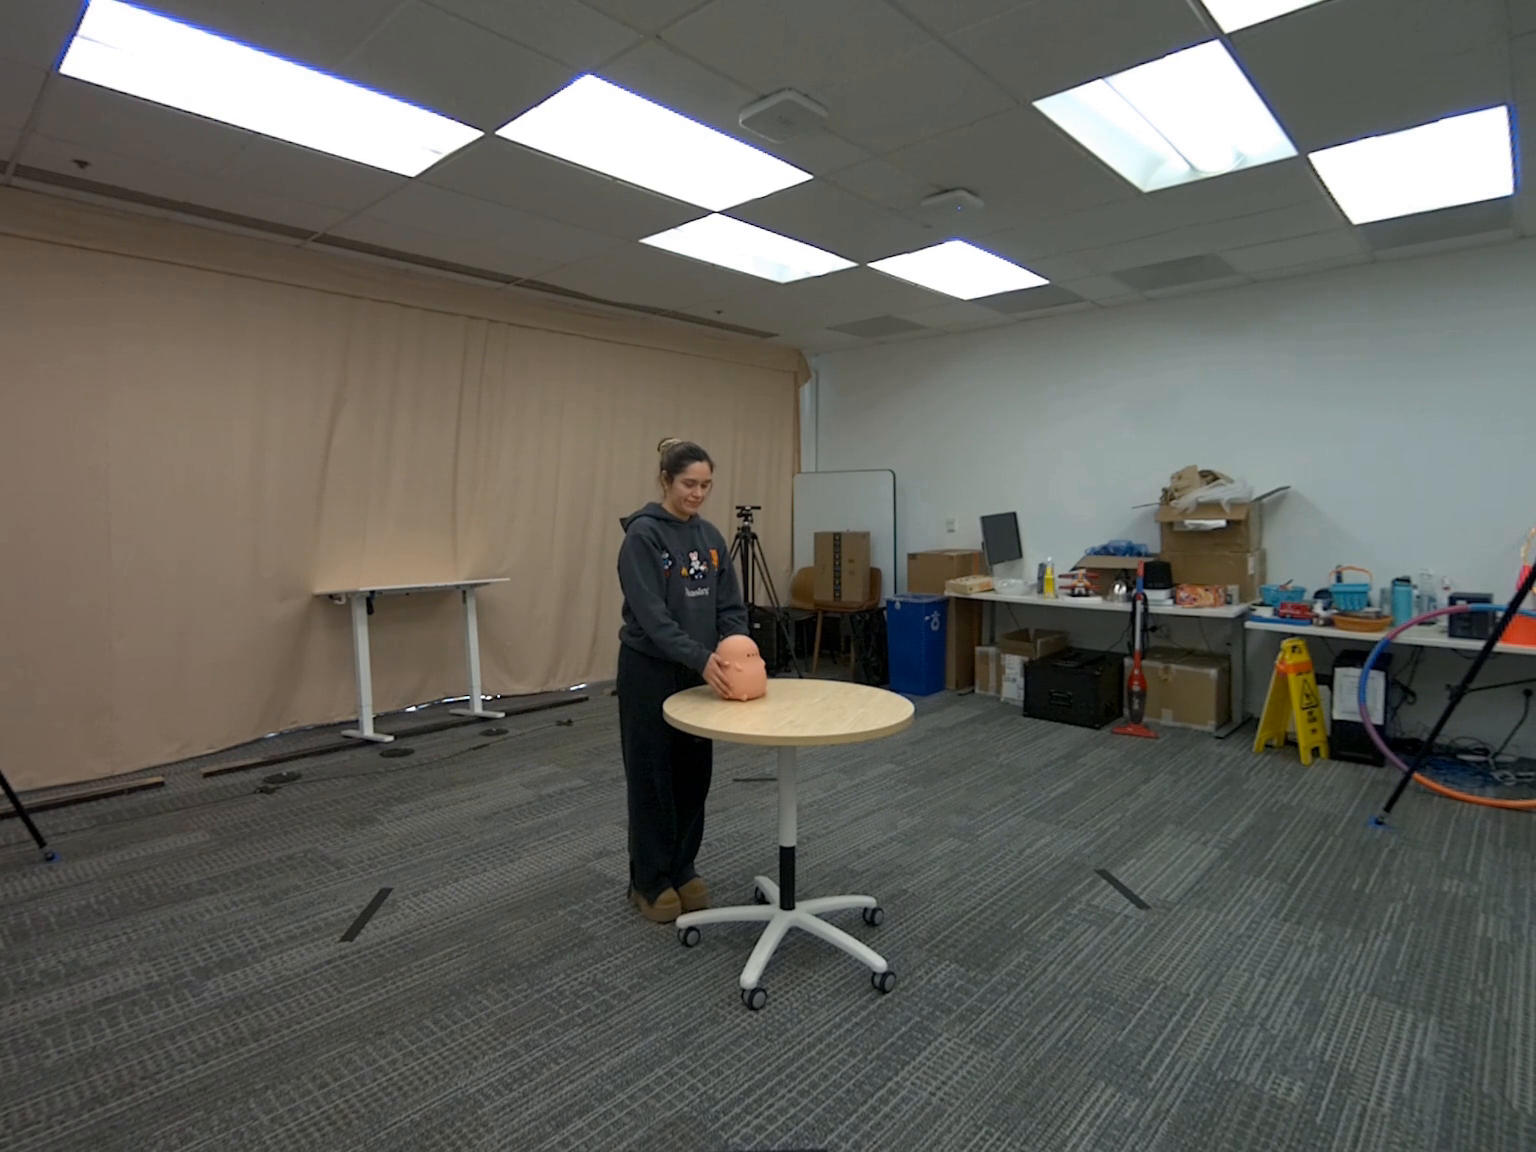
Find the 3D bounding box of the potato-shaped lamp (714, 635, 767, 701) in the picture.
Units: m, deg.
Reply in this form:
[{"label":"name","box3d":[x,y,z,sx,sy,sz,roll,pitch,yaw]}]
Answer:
[{"label":"potato-shaped lamp","box3d":[-0.080,0.290,2.689,0.177,0.198,0.159,0,0,42]}]
